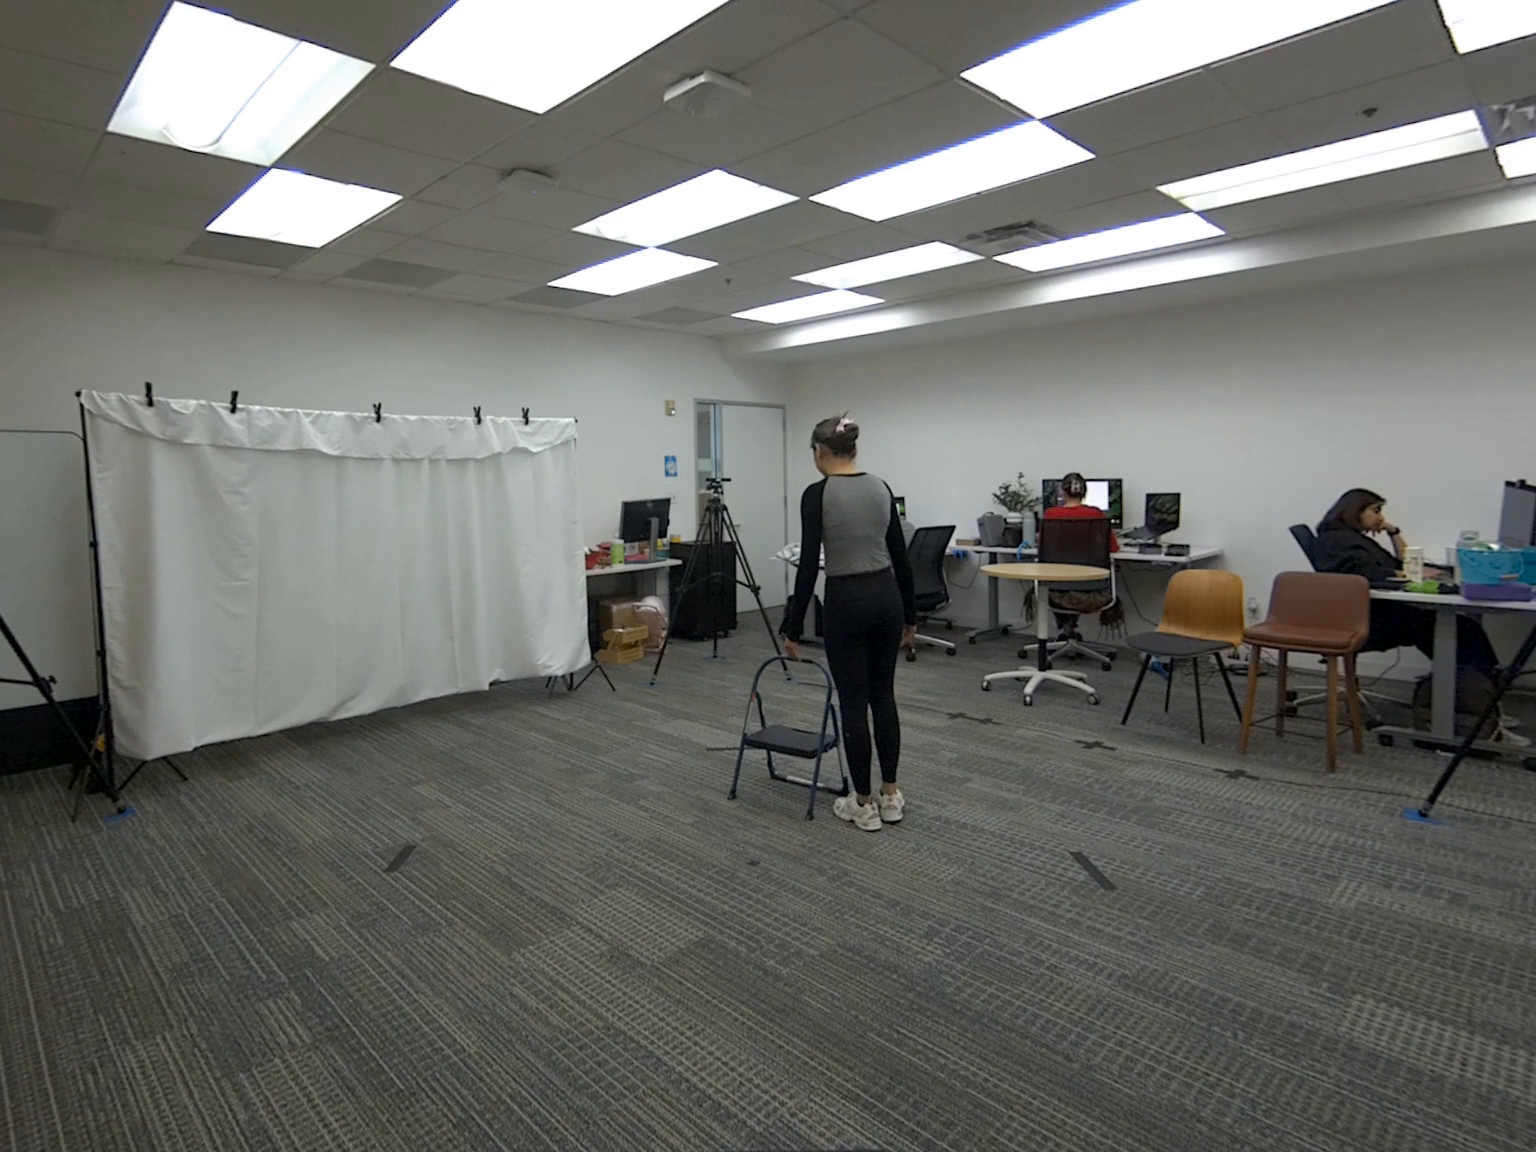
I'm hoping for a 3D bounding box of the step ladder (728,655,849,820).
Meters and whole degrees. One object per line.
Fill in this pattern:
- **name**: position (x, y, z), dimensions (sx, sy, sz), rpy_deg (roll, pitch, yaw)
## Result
- **step ladder**: position (0.088, 0.667, 3.726), dimensions (0.443, 0.604, 0.341), rpy_deg (3, 6, 36)
